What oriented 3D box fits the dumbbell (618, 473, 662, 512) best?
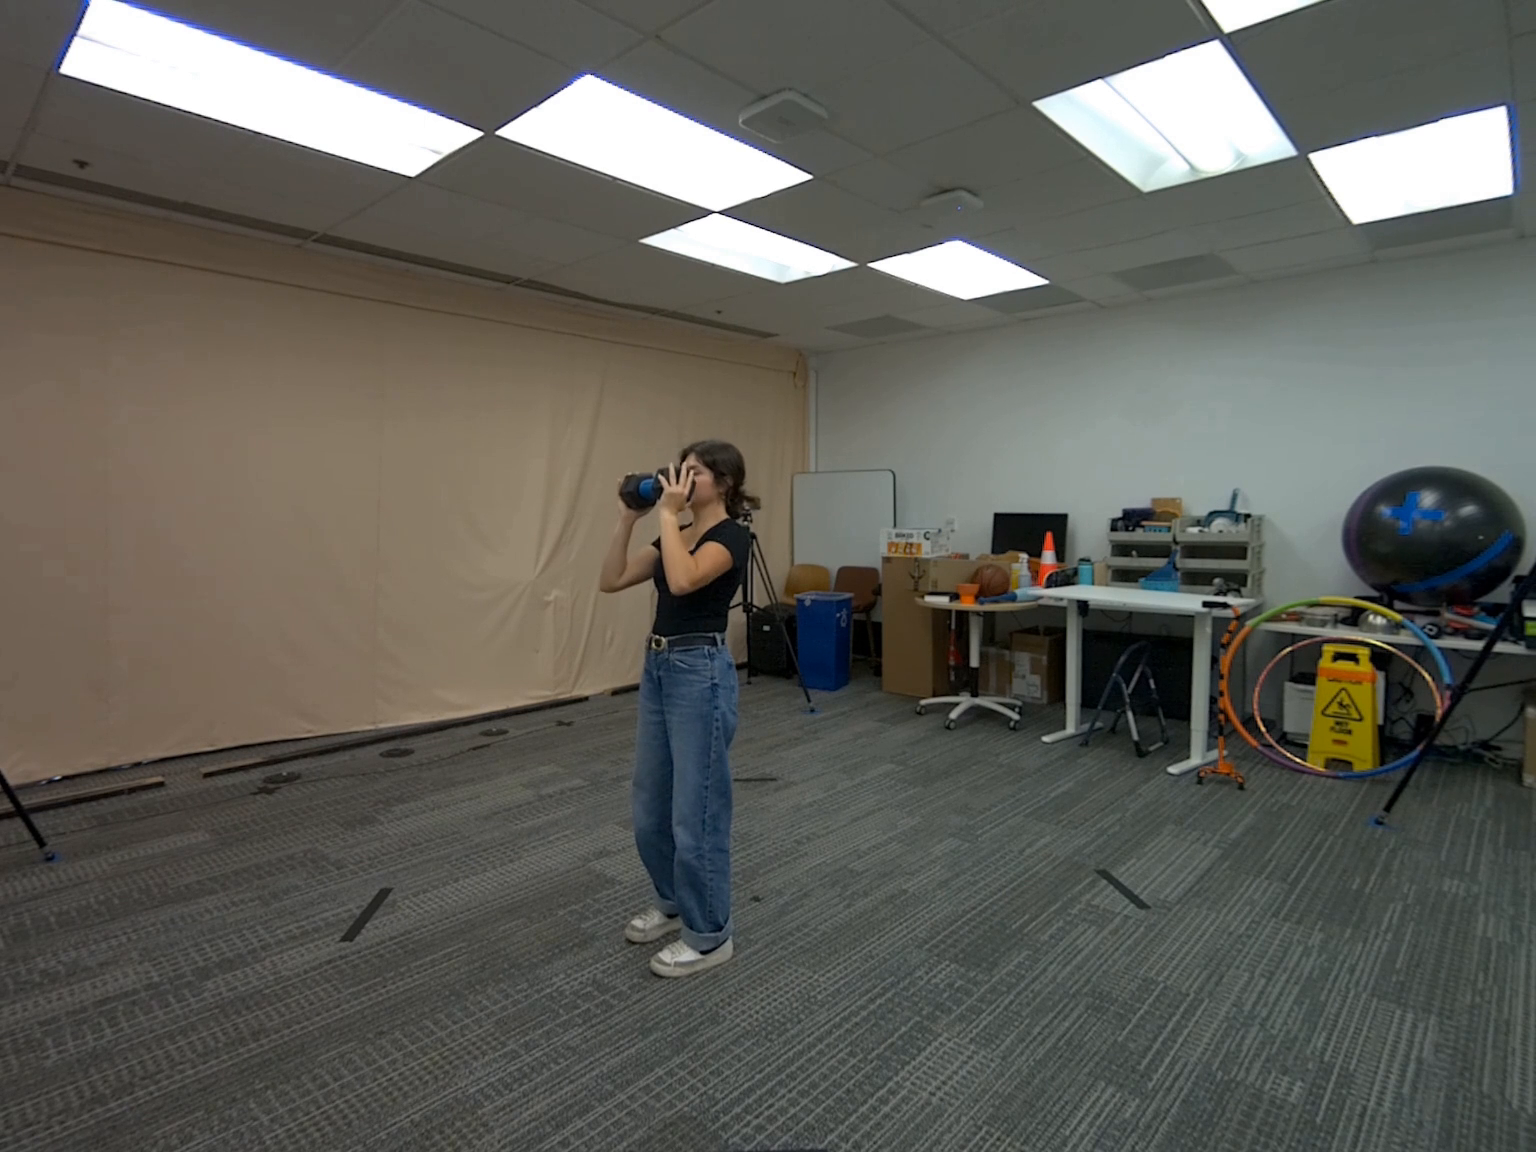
[{"bbox_3d":[-0.331,-0.277,2.573,0.108,0.120,0.302,-42,23,-26],"label":"dumbbell"}]
